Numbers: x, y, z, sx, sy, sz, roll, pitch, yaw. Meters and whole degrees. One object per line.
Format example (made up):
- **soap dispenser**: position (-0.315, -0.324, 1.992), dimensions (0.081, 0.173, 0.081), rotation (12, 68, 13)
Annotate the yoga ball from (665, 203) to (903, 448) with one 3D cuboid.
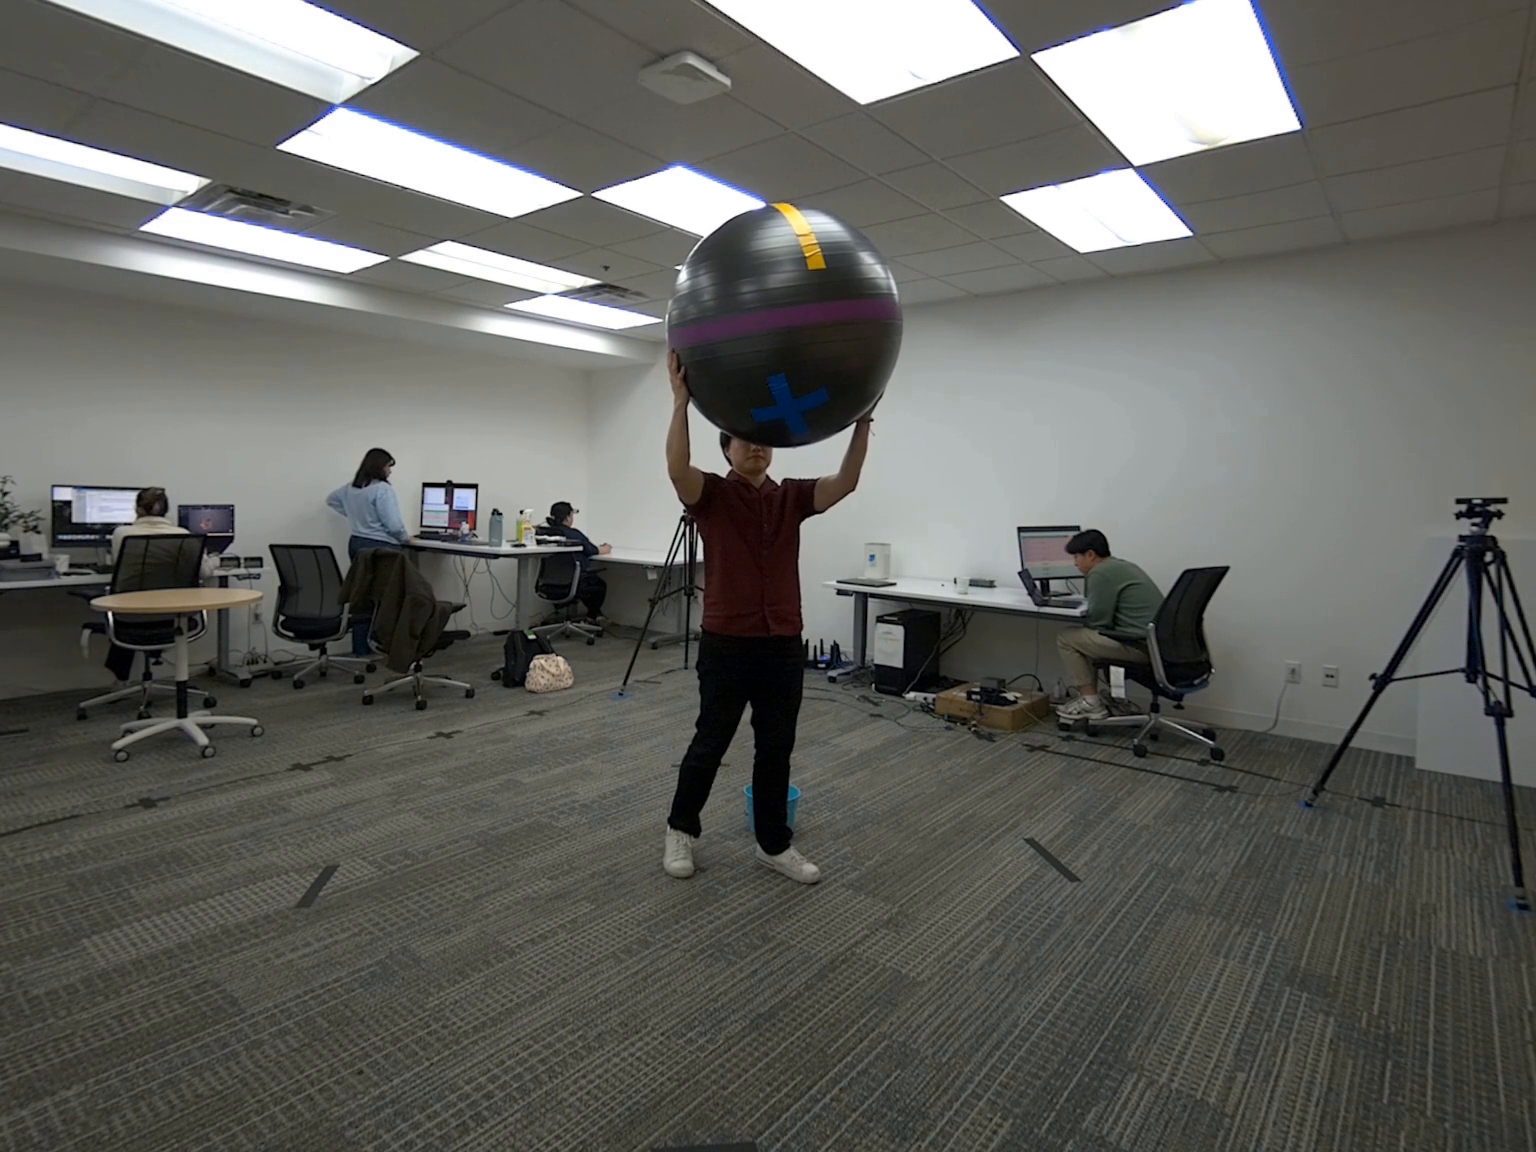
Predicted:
- **yoga ball**: position (0.048, -0.792, 2.743), dimensions (0.757, 0.755, 0.762), rotation (1, 4, -2)
